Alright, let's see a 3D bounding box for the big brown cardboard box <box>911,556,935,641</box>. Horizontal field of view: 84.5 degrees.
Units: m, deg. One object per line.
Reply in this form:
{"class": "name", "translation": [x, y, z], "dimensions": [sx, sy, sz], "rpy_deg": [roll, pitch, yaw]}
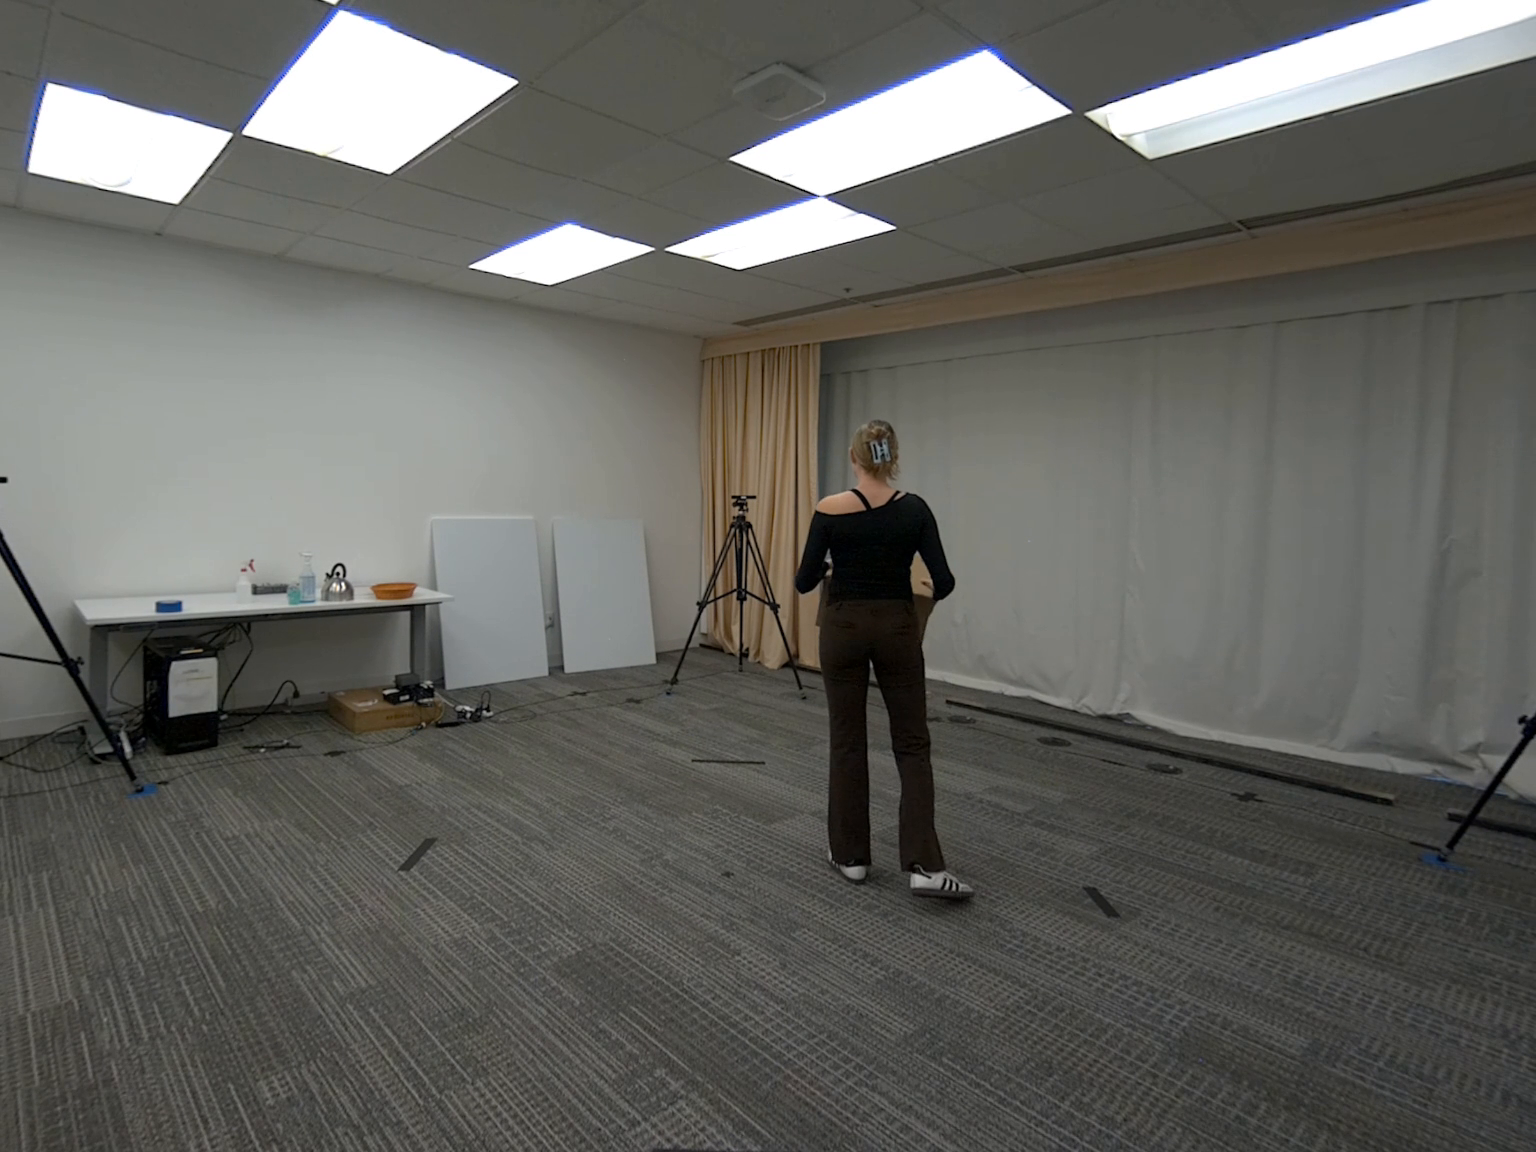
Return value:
{"class": "big brown cardboard box", "translation": [0.455, 0.058, 3.462], "dimensions": [0.421, 0.231, 0.590], "rpy_deg": [11, 18, 8]}
